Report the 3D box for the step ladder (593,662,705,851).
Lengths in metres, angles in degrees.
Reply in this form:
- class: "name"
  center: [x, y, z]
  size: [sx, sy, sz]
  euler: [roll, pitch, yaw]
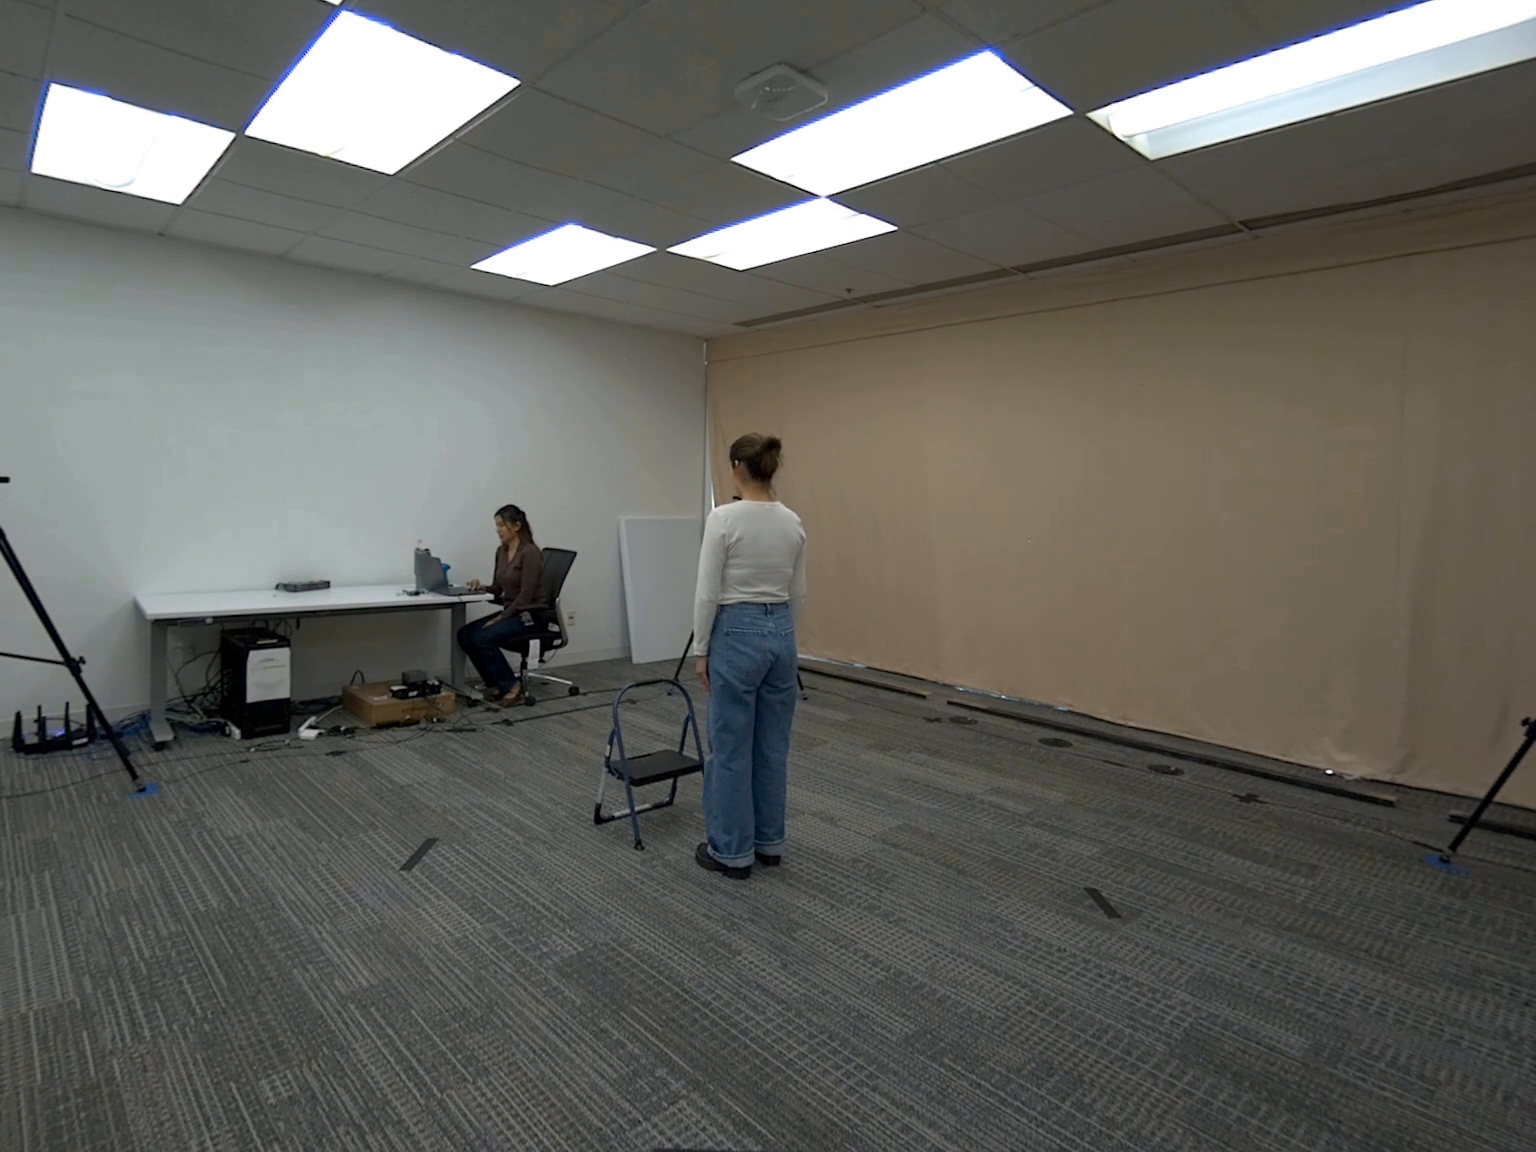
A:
- class: "step ladder"
  center: [-0.472, 0.753, 3.552]
  size: [0.421, 0.605, 0.358]
  euler: [-2, 5, -44]
